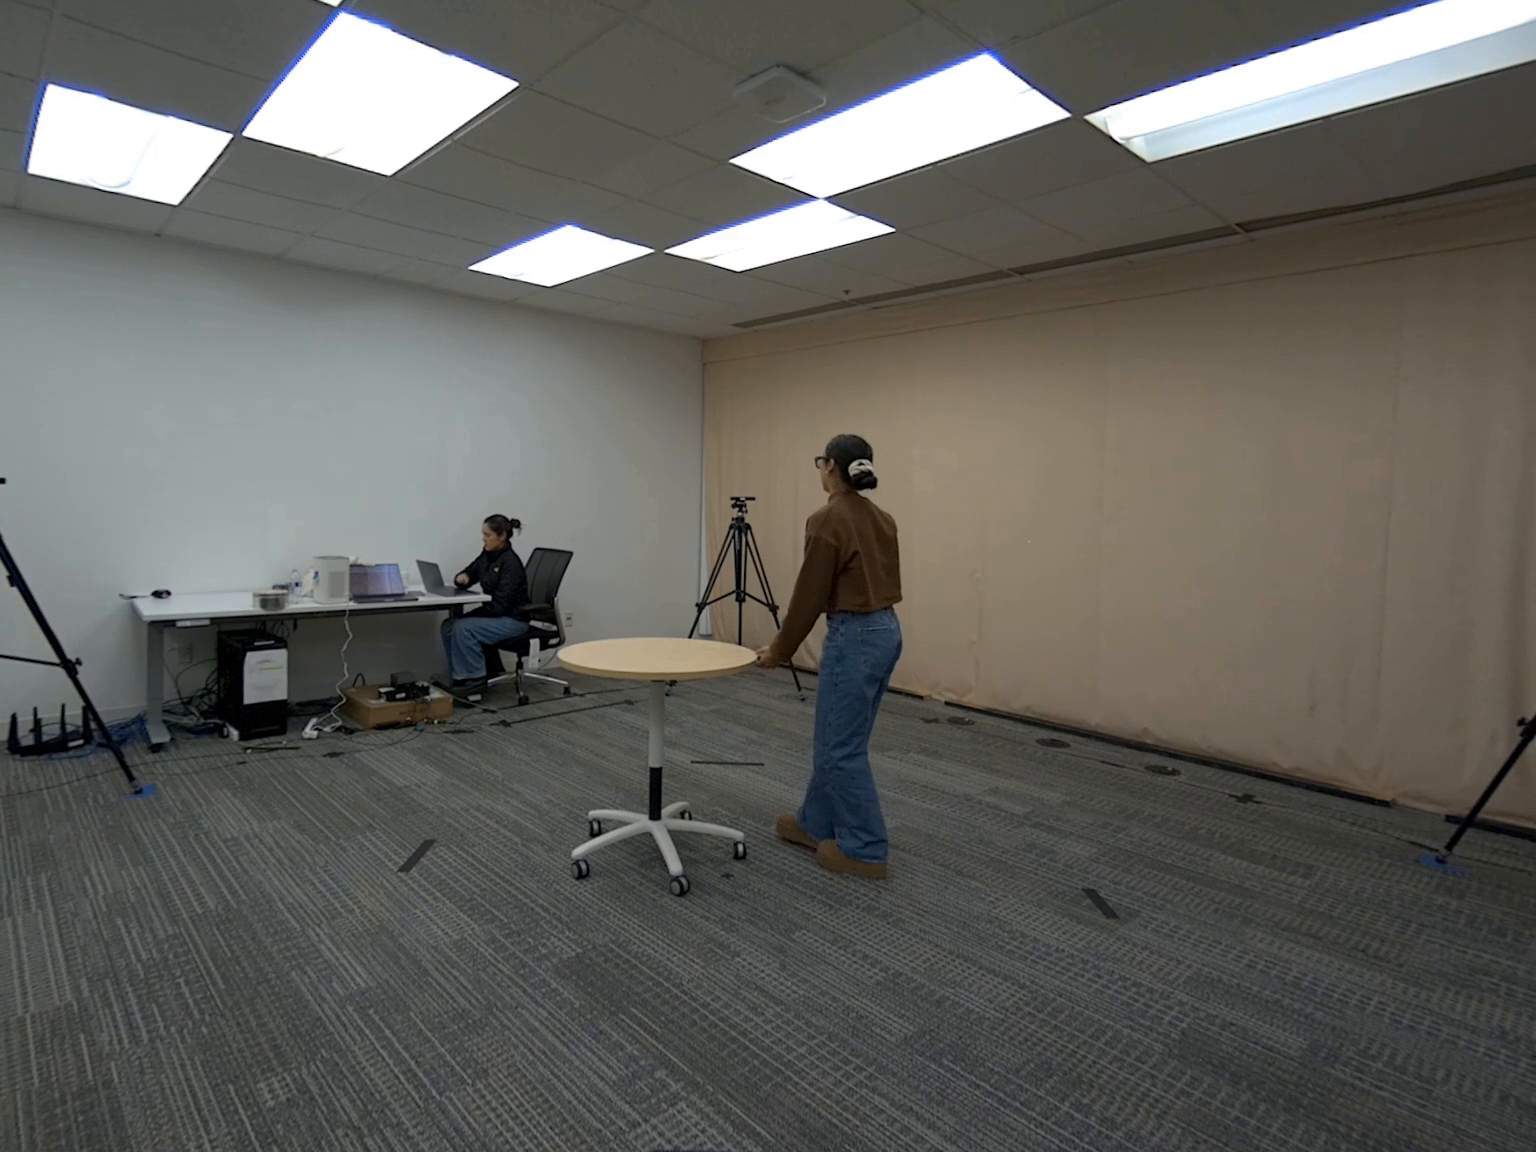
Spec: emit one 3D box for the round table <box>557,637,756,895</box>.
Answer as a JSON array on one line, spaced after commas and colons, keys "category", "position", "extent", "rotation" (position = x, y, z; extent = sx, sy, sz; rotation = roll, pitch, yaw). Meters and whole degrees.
[{"category": "round table", "position": [-0.436, 0.694, 3.260], "extent": [0.763, 0.792, 0.766], "rotation": [1, 3, -1]}]
